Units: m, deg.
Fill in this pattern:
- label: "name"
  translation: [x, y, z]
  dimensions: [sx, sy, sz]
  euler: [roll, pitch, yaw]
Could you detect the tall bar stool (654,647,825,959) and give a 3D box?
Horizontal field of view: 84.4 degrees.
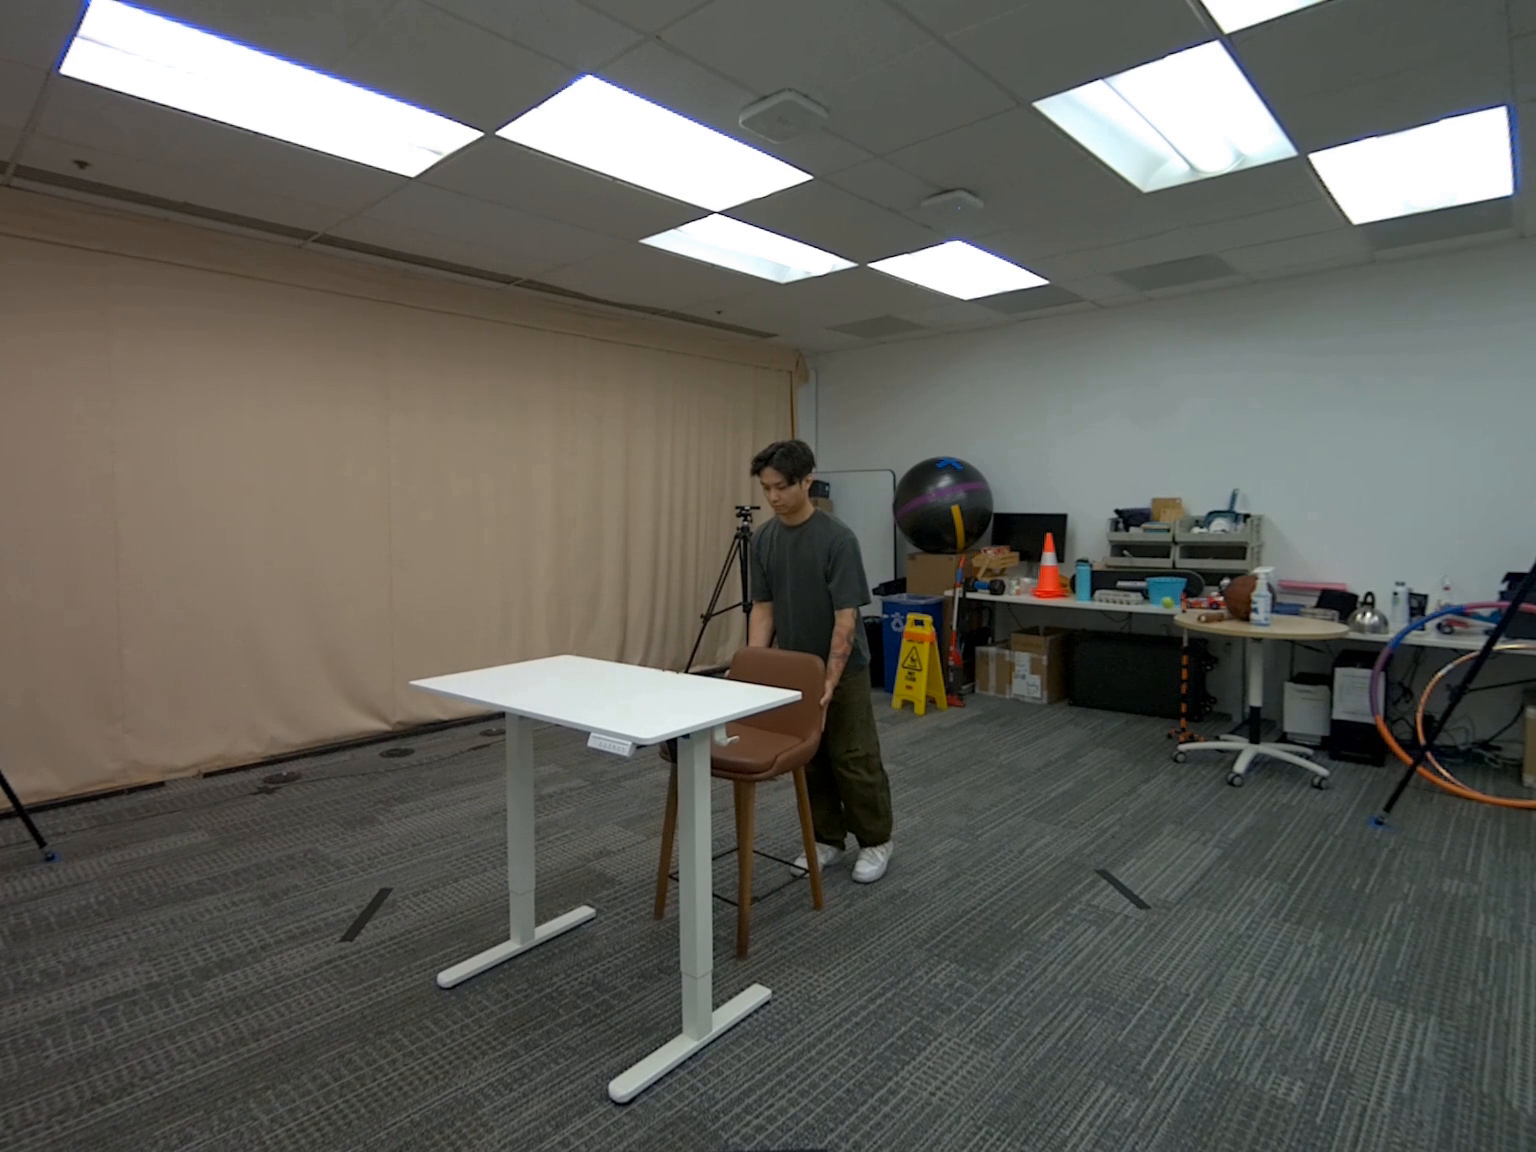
- label: "tall bar stool"
  translation: [-0.086, 0.715, 2.855]
  dimensions: [0.471, 0.889, 0.453]
  euler: [3, 2, 40]
